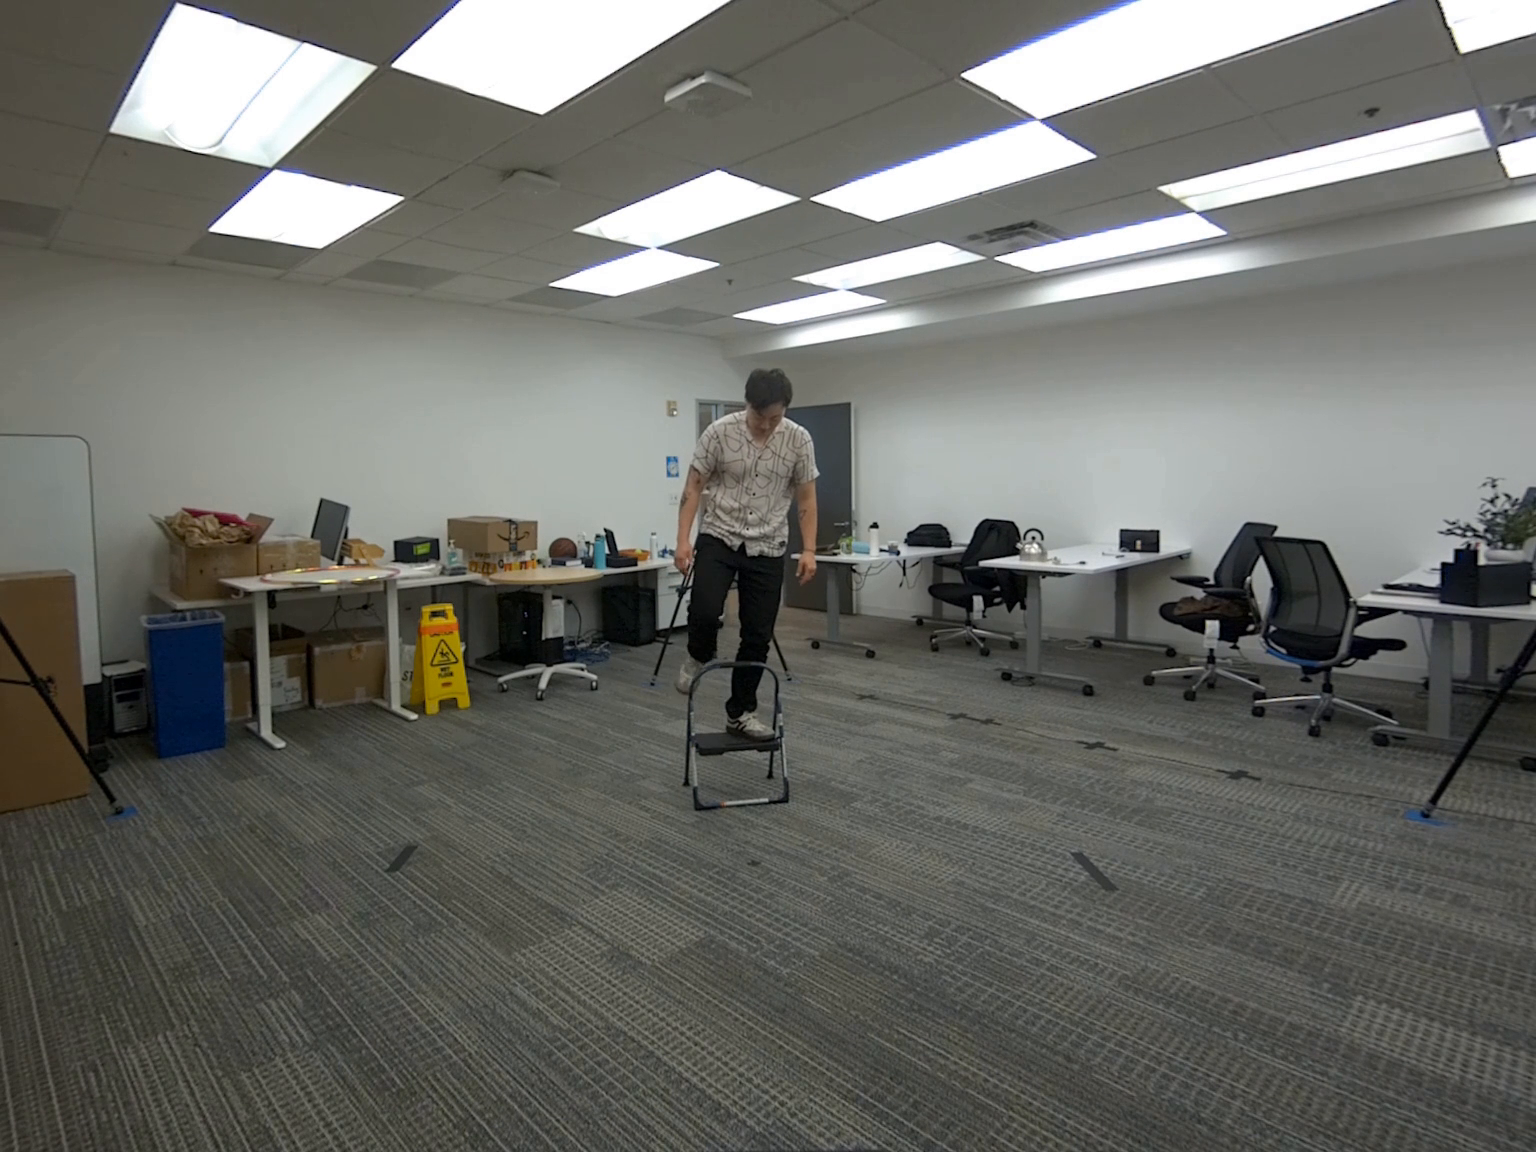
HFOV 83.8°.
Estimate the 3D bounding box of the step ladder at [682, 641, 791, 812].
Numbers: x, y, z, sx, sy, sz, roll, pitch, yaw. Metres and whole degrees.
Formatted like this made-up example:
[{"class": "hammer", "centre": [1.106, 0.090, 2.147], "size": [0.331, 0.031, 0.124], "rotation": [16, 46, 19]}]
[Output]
[{"class": "step ladder", "centre": [-0.155, 0.670, 3.794], "size": [0.426, 0.604, 0.354], "rotation": [-2, 4, -12]}]
